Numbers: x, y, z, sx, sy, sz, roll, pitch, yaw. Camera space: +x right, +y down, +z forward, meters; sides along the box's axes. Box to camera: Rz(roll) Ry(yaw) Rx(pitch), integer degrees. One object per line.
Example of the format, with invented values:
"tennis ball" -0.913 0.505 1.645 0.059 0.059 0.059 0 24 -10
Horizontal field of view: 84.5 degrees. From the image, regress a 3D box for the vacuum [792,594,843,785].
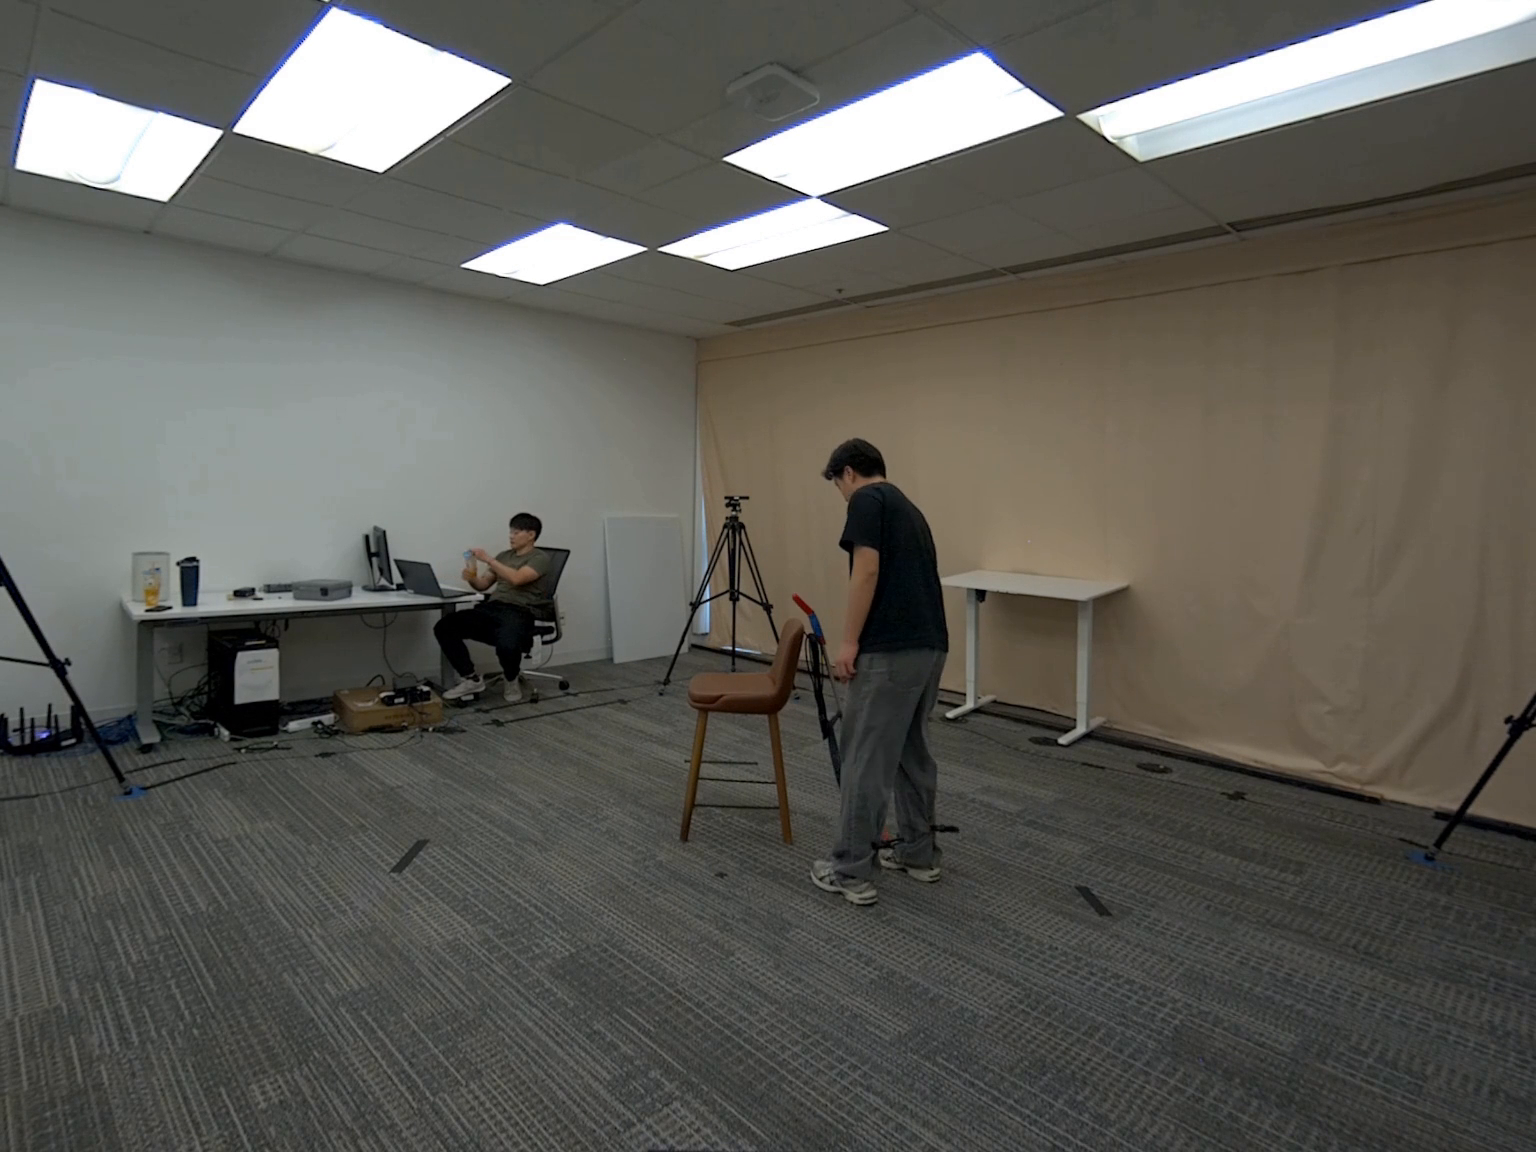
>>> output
"vacuum" 0.259 0.584 3.497 0.143 1.045 0.255 -18 5 -14
